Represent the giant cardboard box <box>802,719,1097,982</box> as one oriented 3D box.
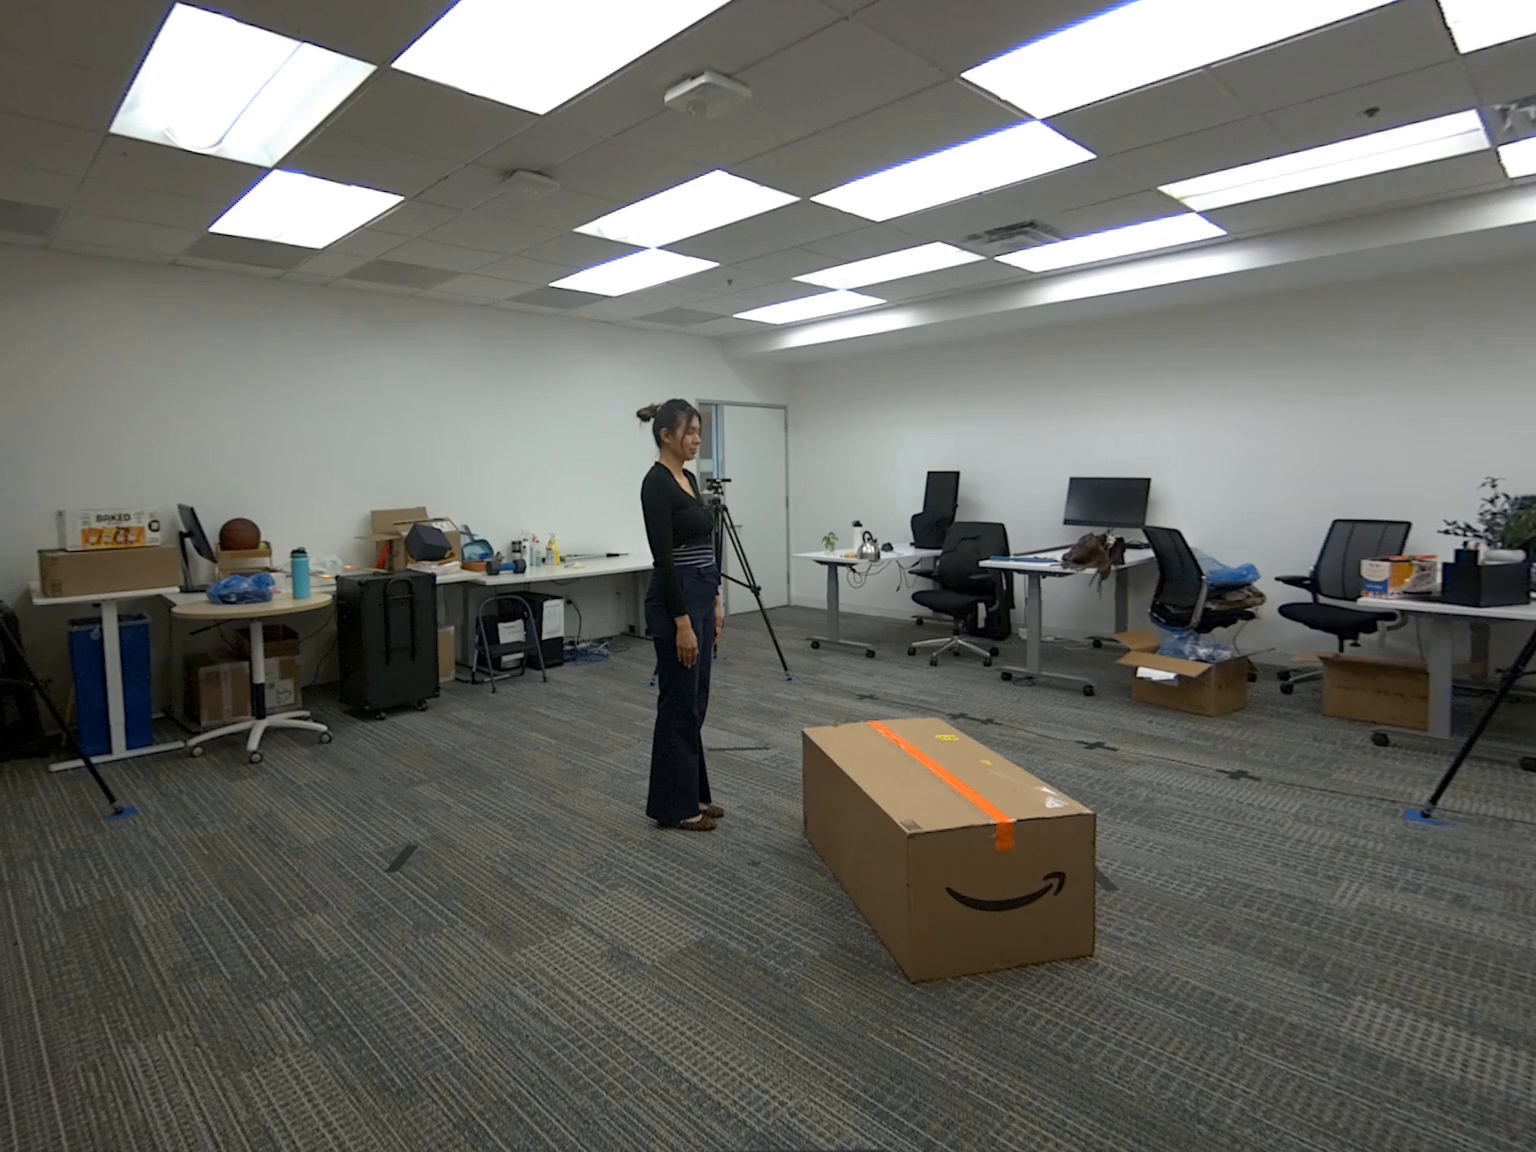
[{"bbox_3d":[0.541,0.843,2.890,0.571,0.424,1.042,-1,6,-13],"label":"giant cardboard box"}]
